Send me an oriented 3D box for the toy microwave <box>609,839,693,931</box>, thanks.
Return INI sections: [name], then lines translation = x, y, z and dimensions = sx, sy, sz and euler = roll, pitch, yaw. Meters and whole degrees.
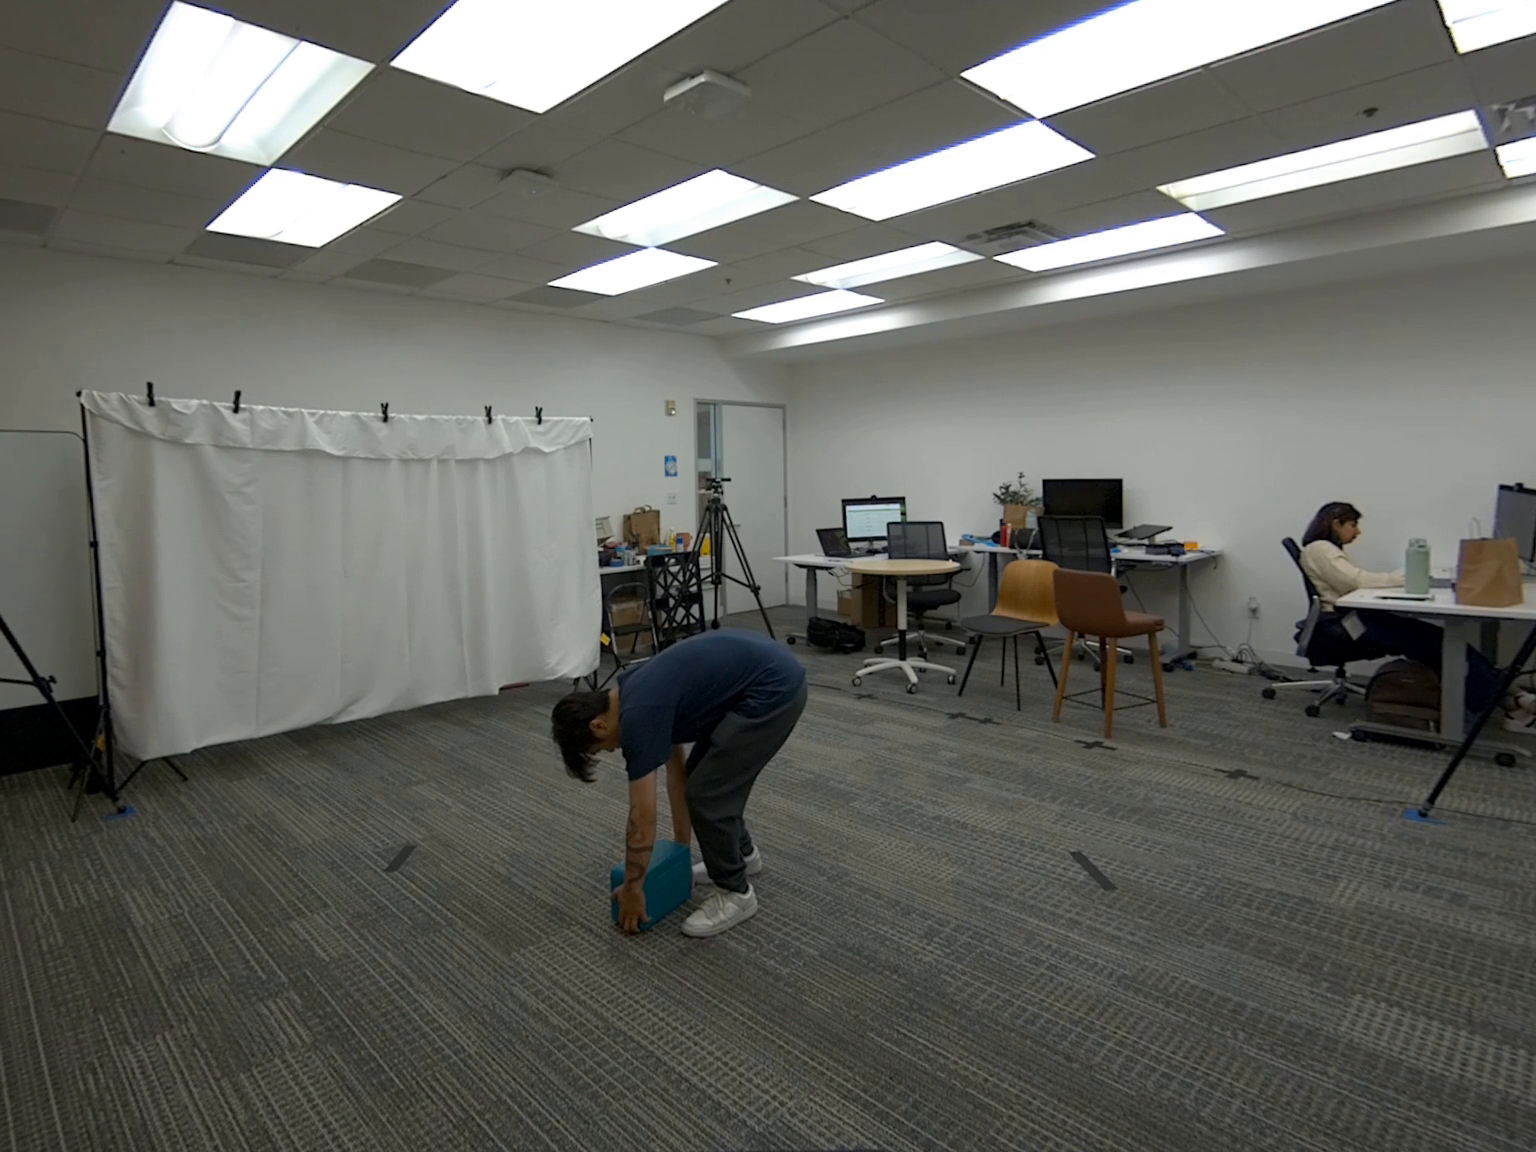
[toy microwave]
translation = -0.377, 0.994, 2.778
dimensions = 0.156, 0.183, 0.280
euler = 2, 7, 30
